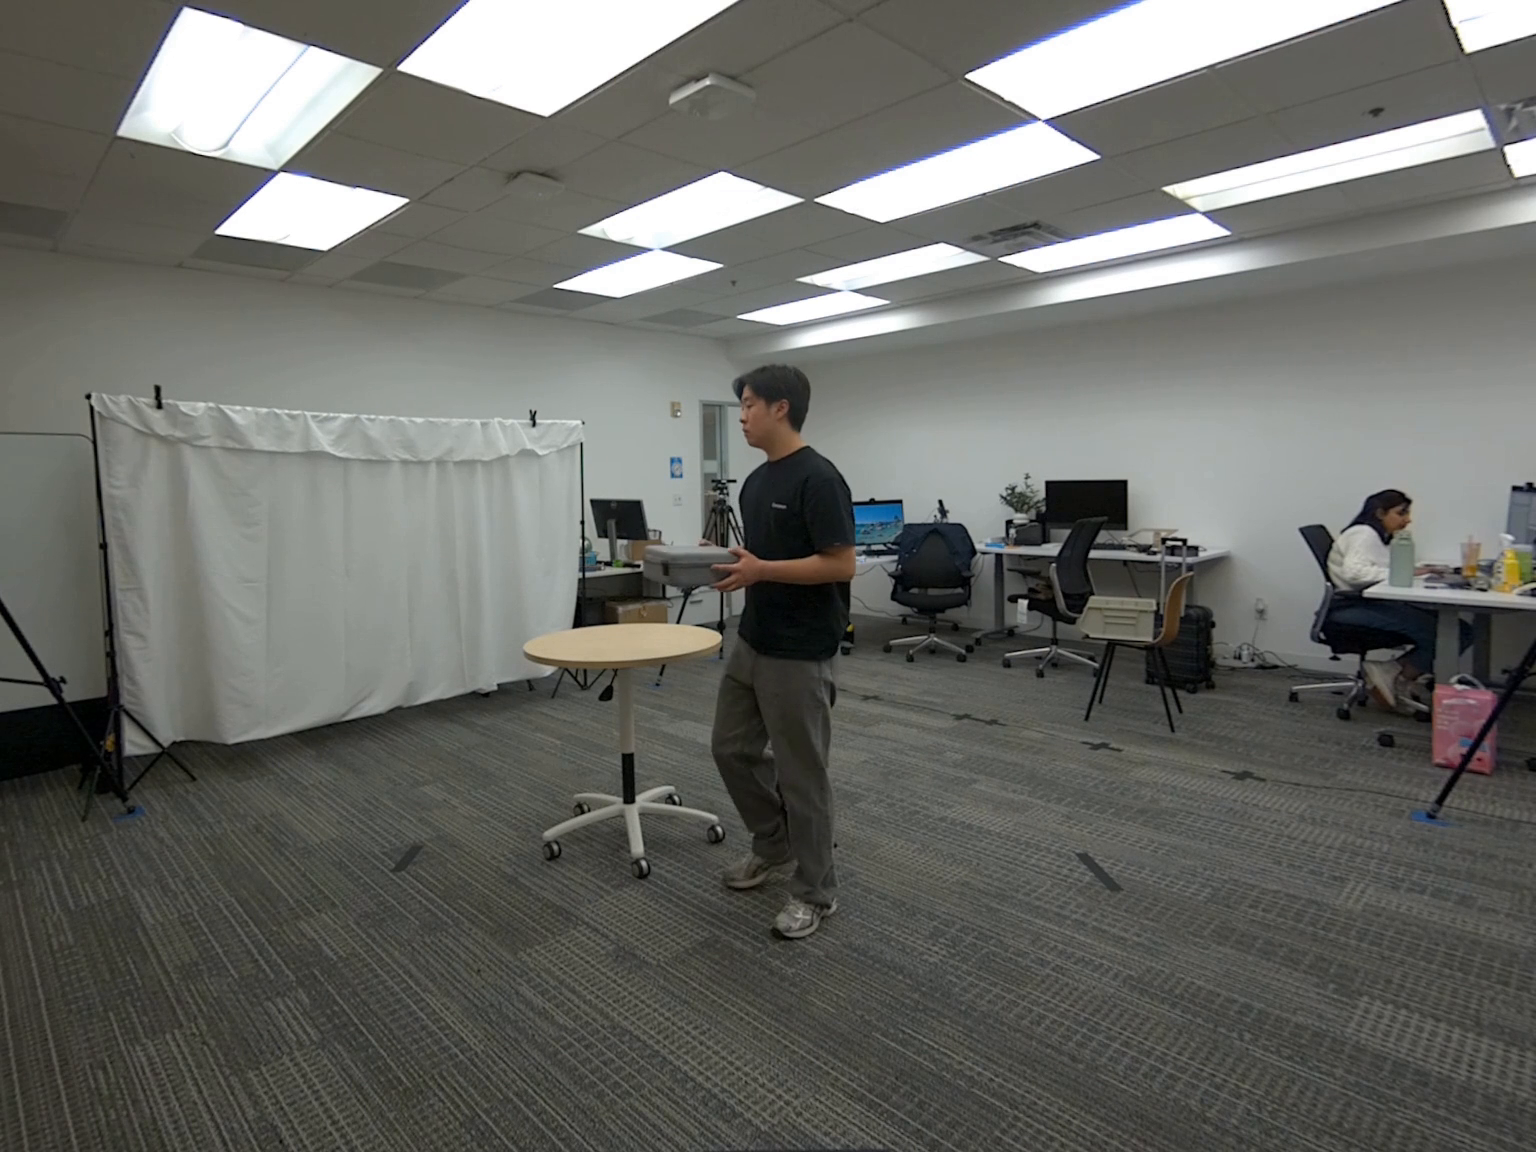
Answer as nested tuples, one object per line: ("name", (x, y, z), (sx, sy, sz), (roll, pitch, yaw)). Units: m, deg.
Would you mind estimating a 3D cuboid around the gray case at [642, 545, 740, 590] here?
("gray case", (-0.203, -0.031, 2.596), (0.281, 0.102, 0.270), (-2, 6, -25))
